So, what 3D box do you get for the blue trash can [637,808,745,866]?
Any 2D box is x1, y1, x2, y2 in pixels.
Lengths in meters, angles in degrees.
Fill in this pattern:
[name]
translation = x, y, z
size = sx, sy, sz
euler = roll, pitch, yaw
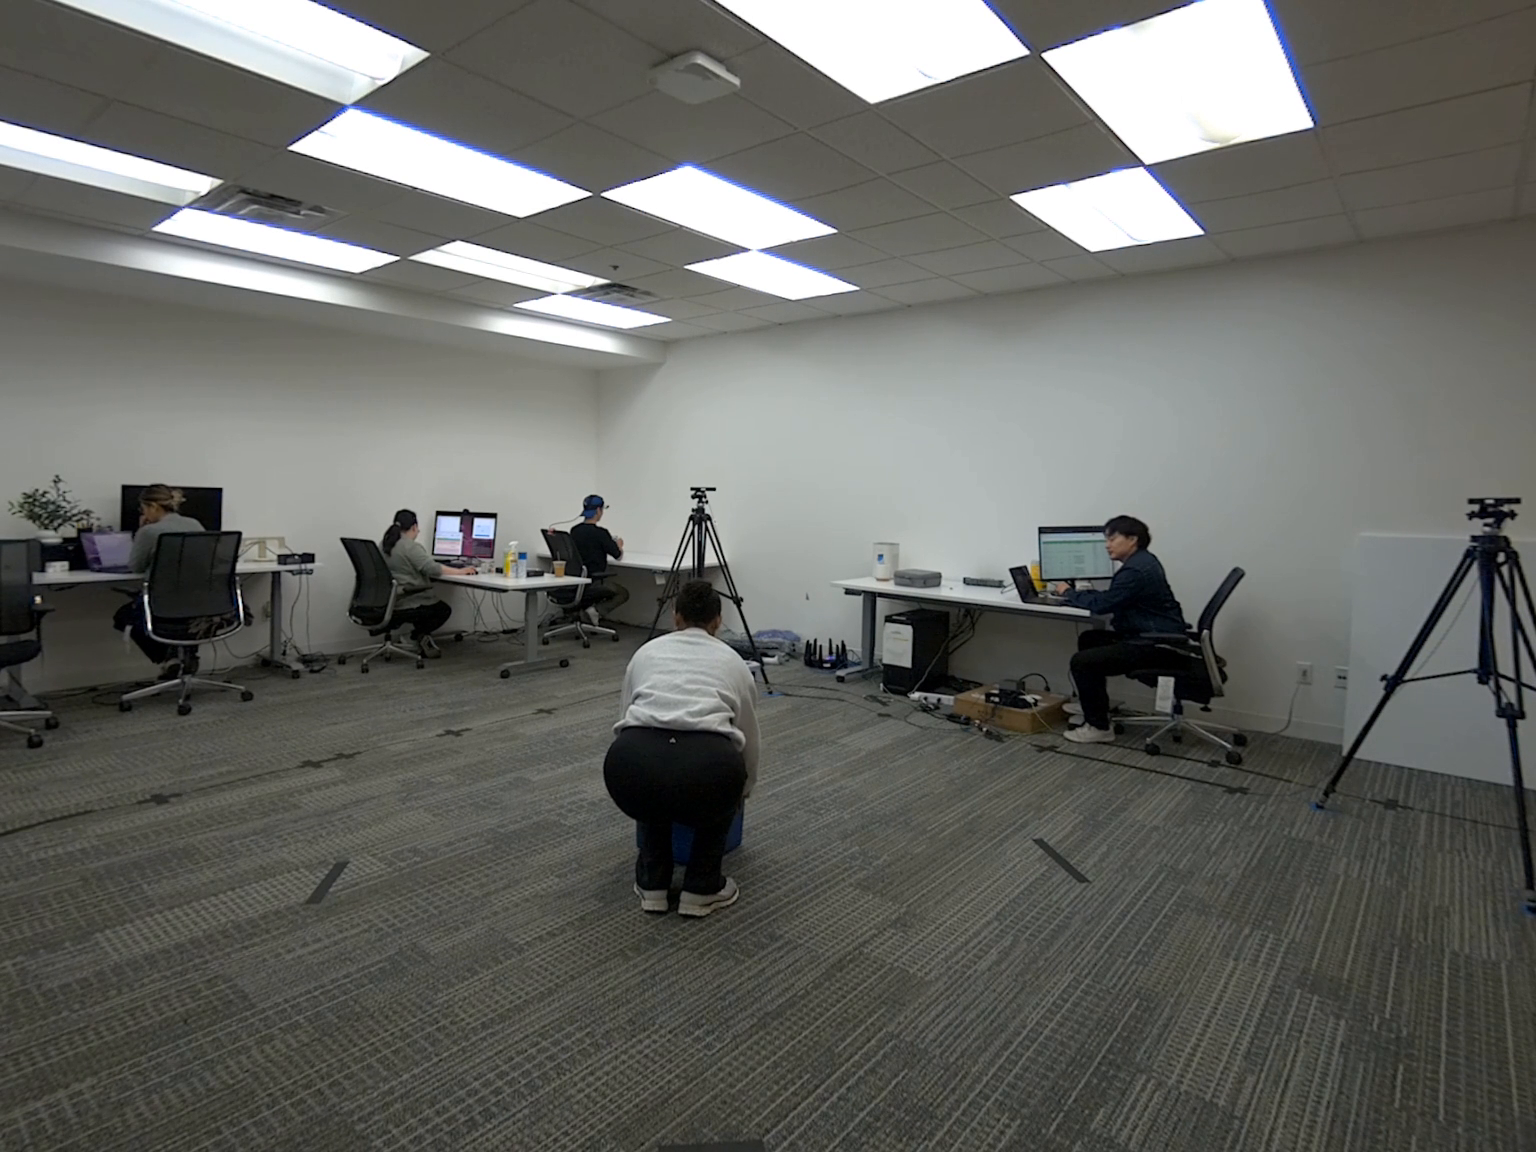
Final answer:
[blue trash can]
translation = -0.287, 0.681, 3.279
size = 0.385, 0.713, 0.367
euler = 3, 2, 30
